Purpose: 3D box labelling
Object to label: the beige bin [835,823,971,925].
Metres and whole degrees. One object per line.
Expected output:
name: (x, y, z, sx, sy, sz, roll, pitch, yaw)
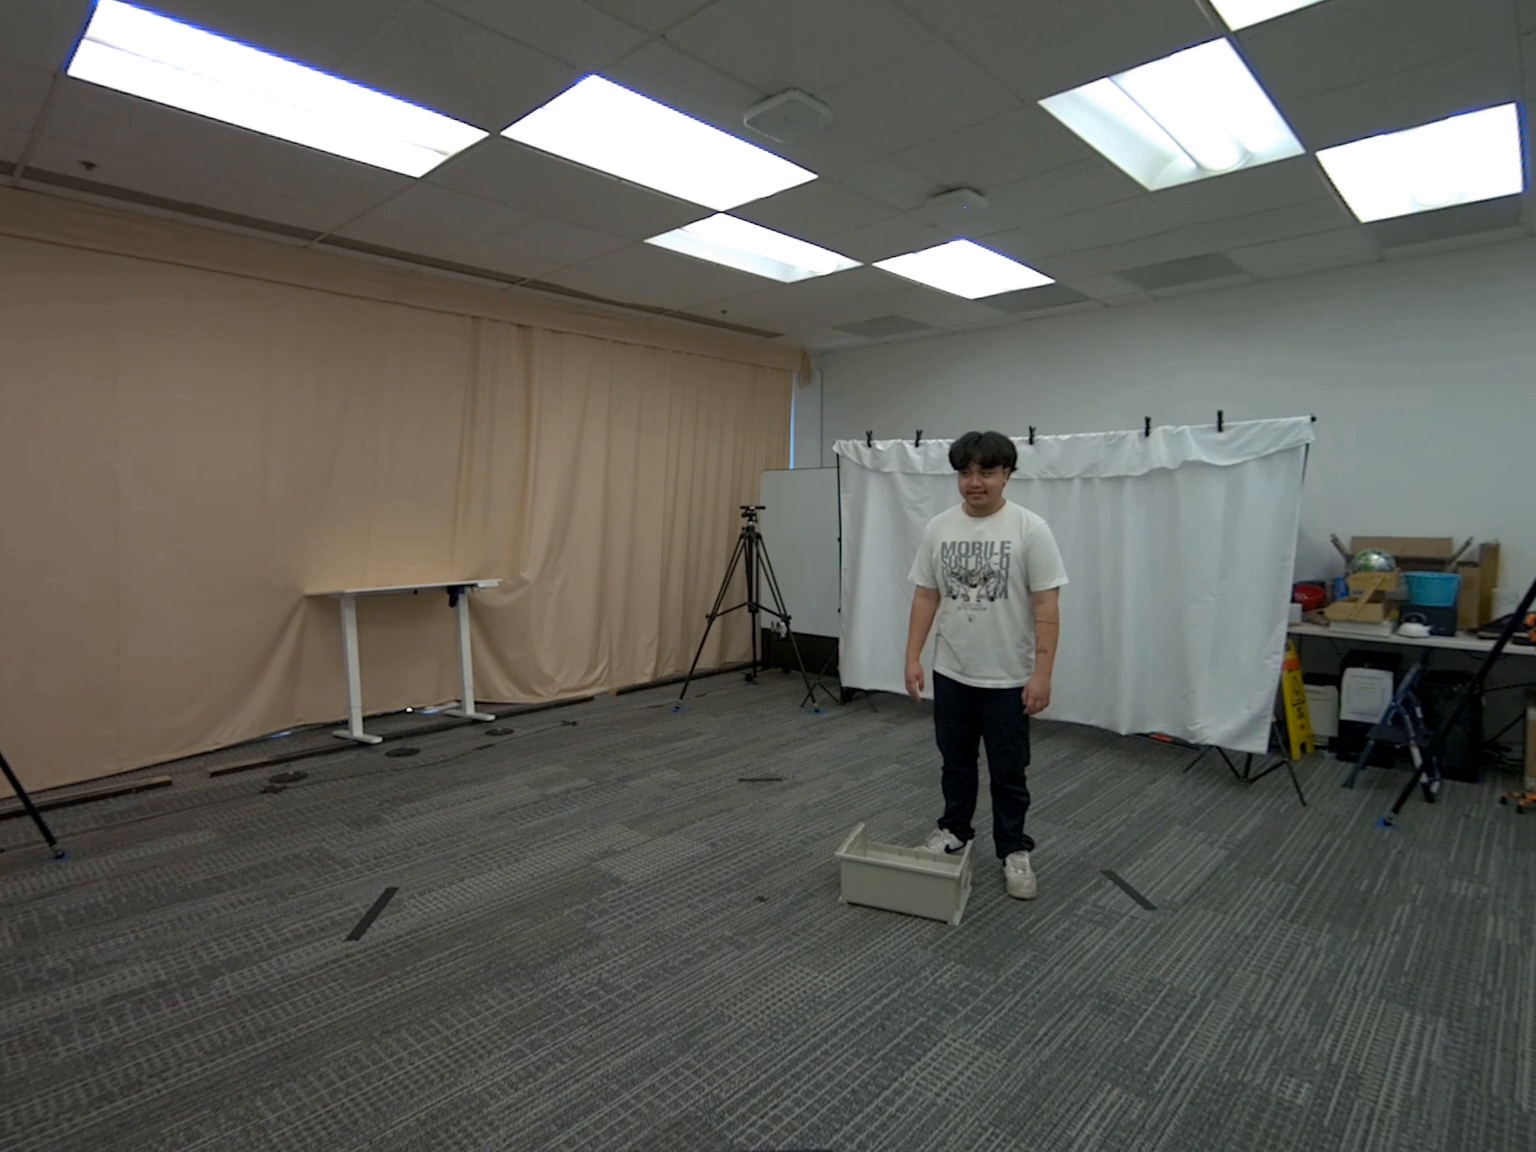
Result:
beige bin: (0.503, 1.048, 3.019, 0.433, 0.188, 0.369, 3, 6, 23)
